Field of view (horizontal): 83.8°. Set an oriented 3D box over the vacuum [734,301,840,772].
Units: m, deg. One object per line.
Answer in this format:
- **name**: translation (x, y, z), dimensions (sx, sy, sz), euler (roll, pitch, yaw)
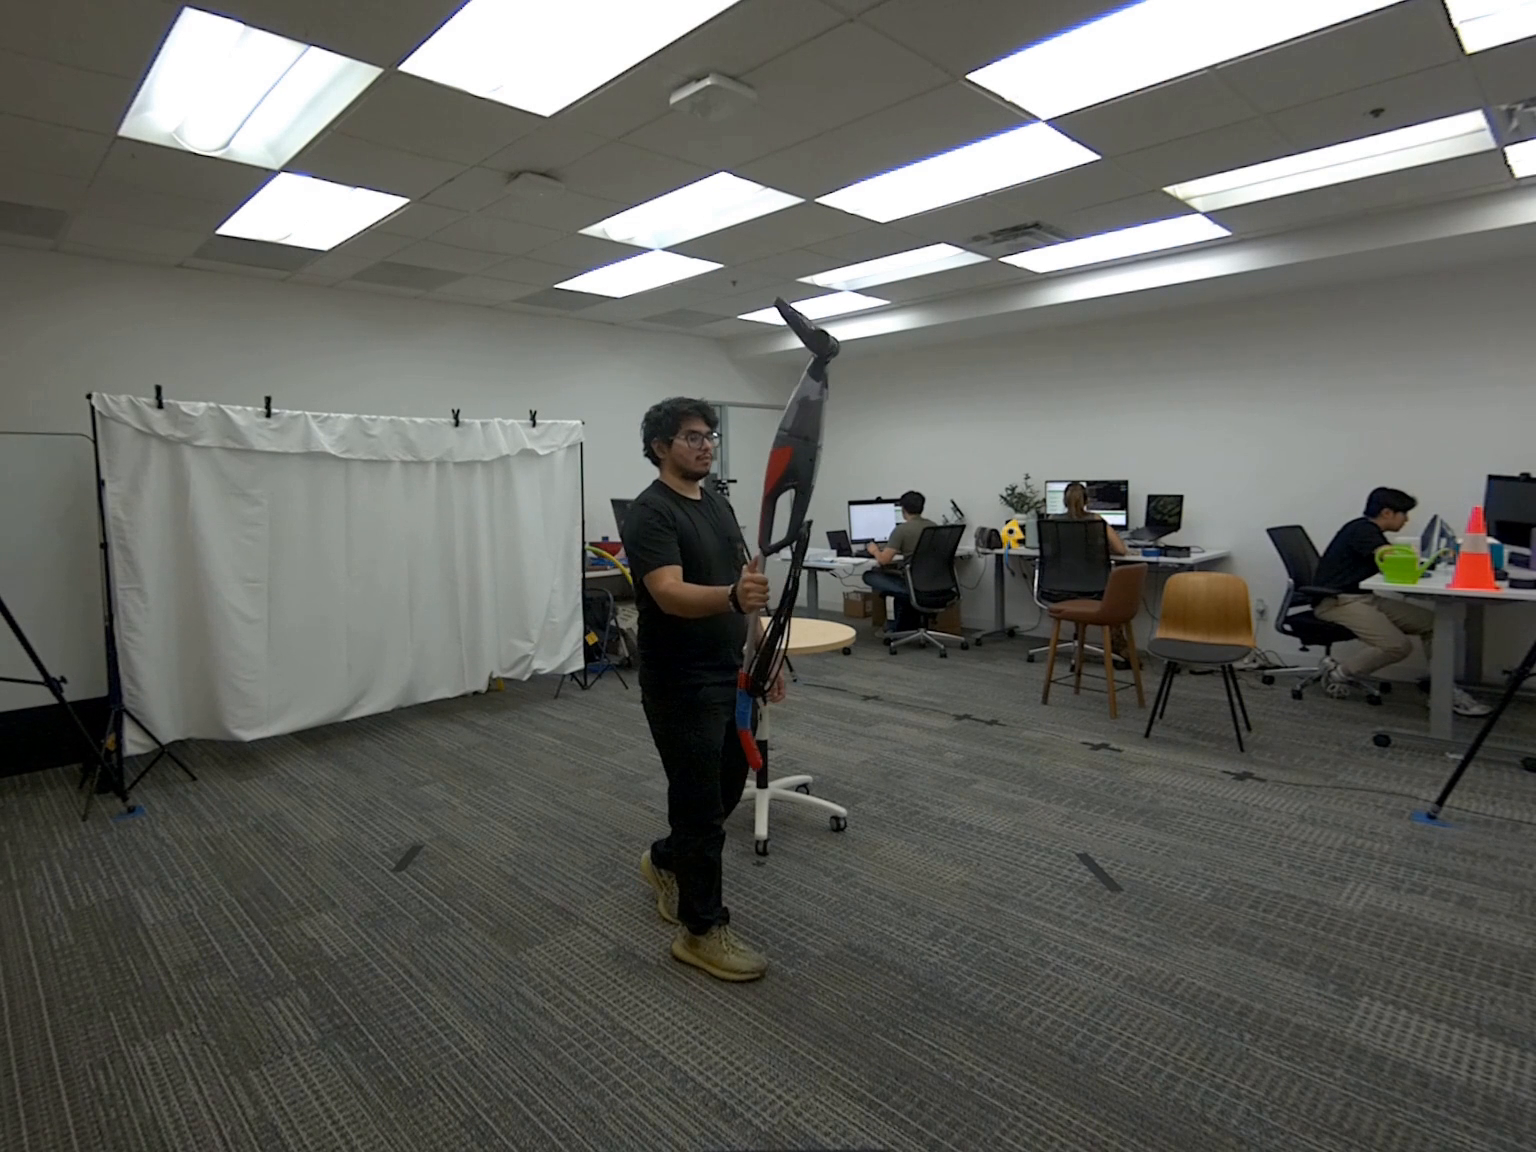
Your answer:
- **vacuum**: translation (0.046, -0.059, 1.984), dimensions (0.146, 1.044, 0.249), euler (8, 7, 15)
